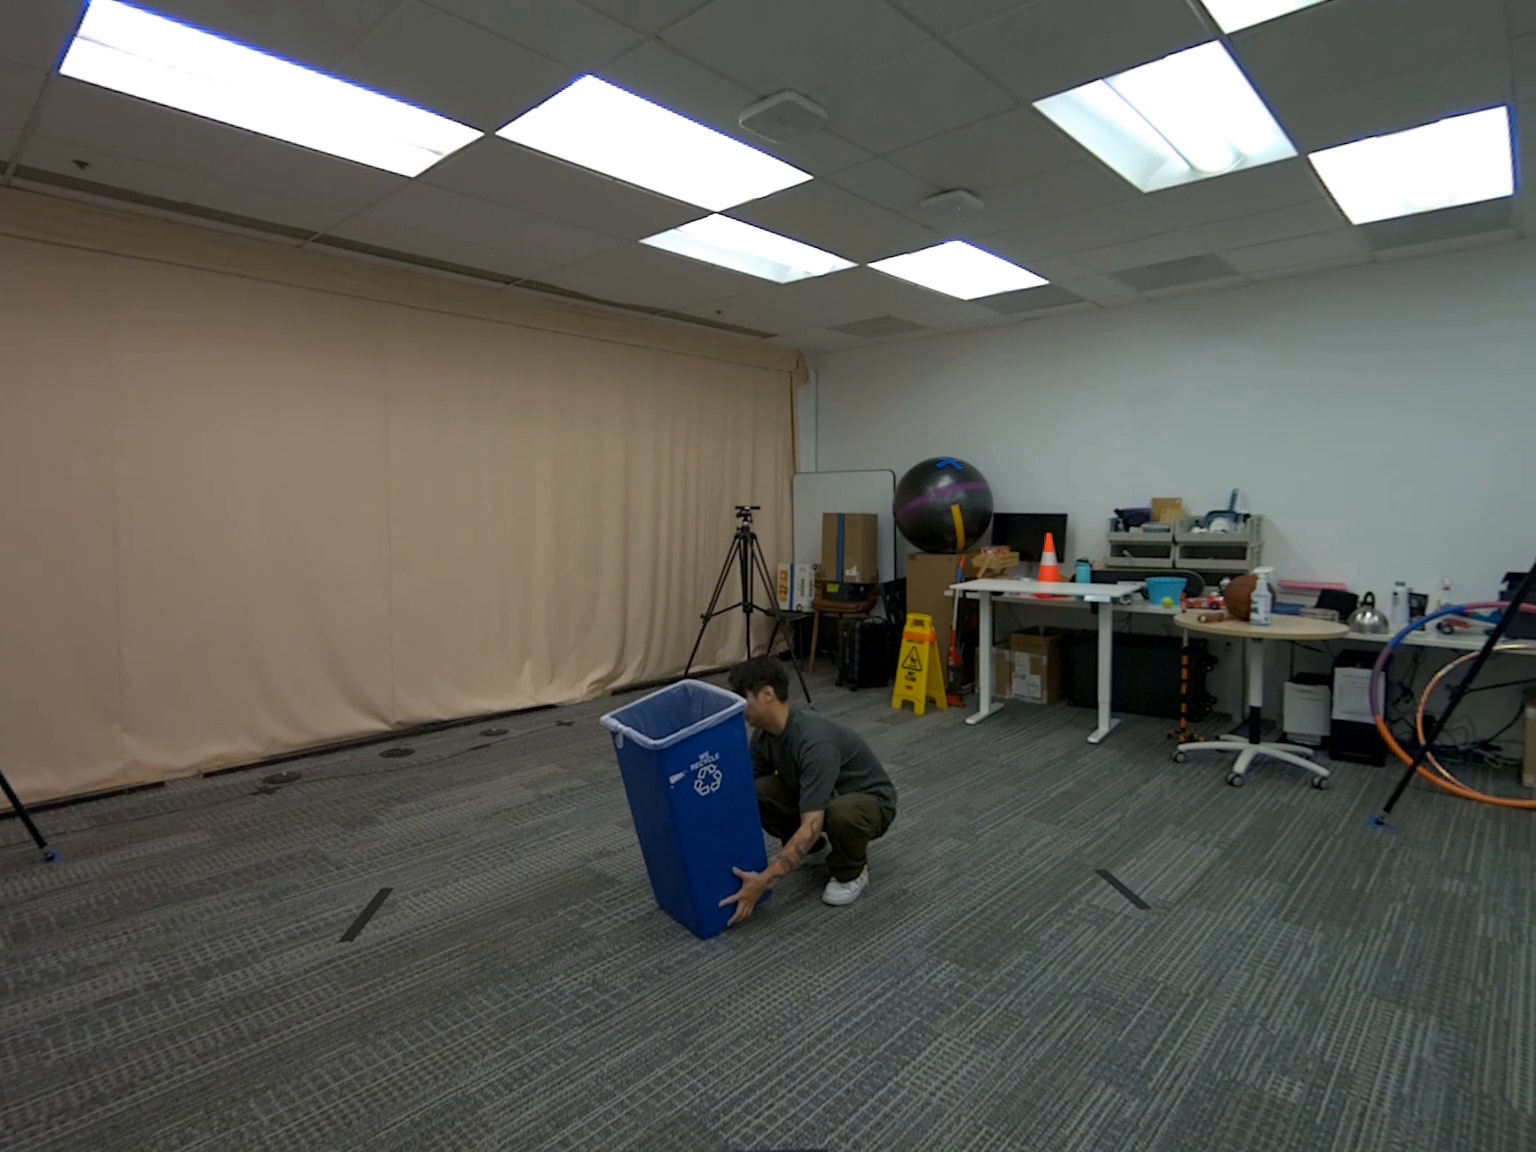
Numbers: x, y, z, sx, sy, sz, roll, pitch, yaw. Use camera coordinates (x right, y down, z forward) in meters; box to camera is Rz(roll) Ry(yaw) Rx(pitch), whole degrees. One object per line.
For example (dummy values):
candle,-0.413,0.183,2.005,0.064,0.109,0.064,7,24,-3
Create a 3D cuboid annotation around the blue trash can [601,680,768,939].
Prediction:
blue trash can,-0.250,0.760,2.808,0.369,0.707,0.386,-18,14,-35
